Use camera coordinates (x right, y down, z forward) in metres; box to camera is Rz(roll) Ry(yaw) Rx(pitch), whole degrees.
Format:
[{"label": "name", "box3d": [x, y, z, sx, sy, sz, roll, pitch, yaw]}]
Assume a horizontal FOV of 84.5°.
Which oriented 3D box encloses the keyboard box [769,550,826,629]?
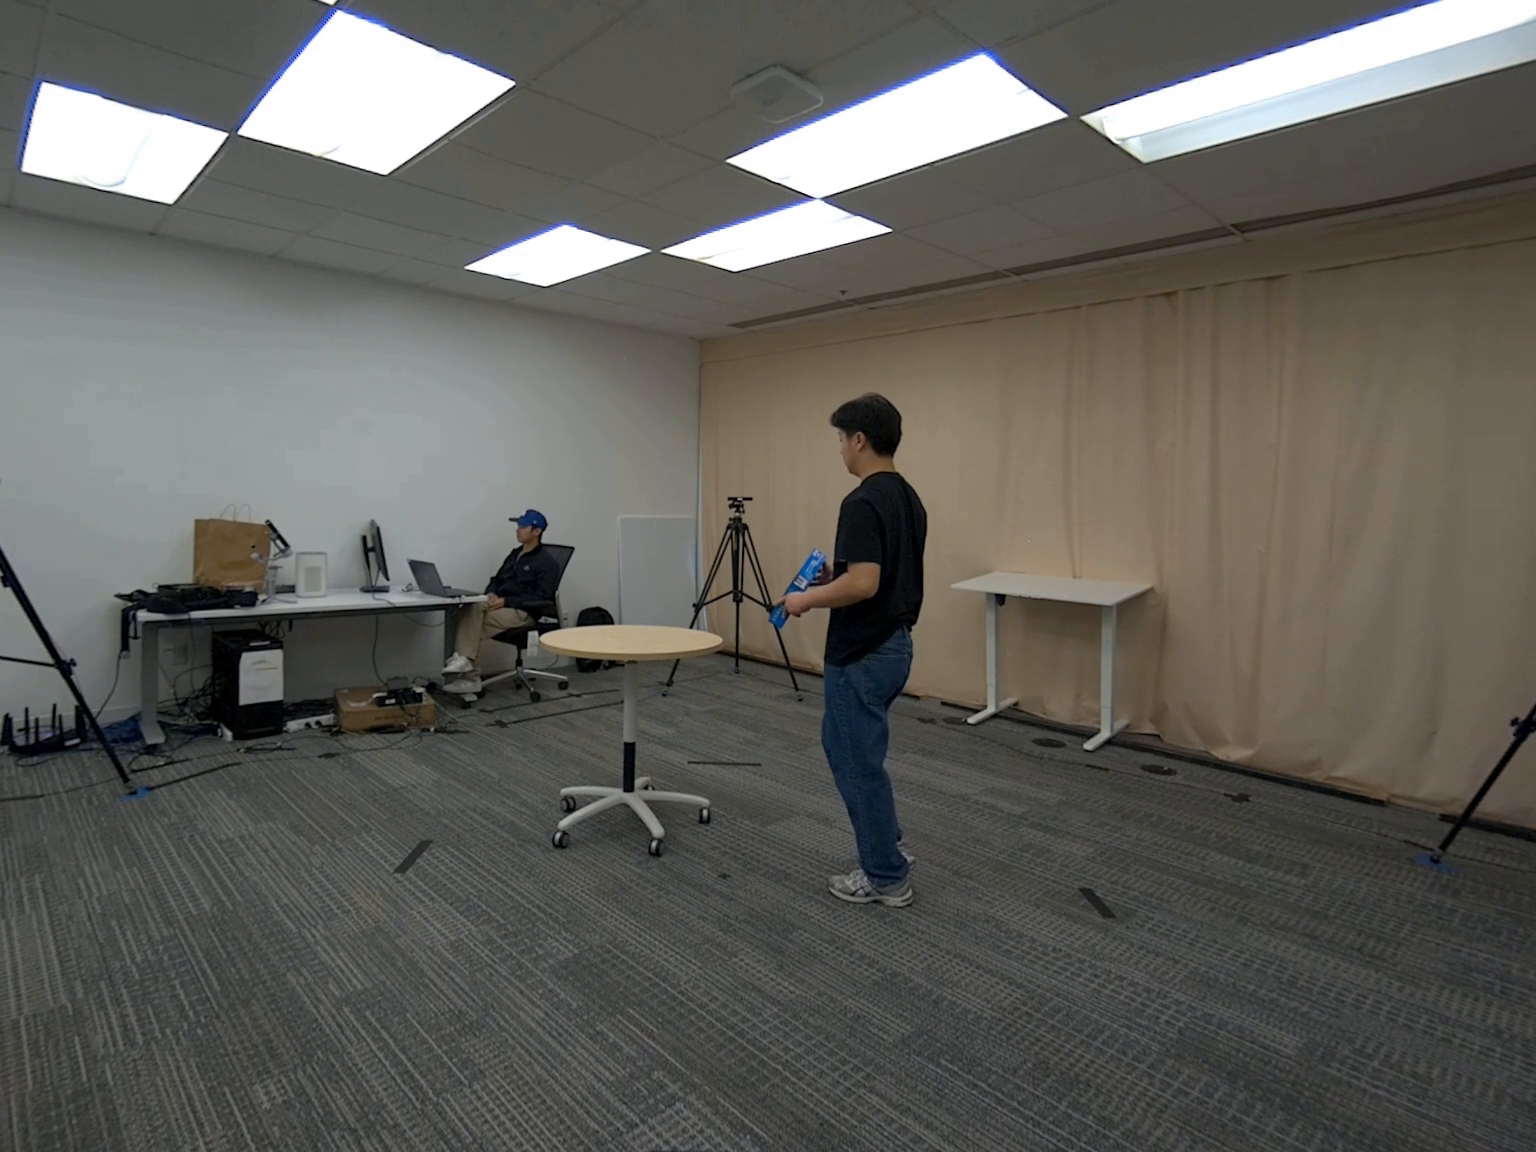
[{"label": "keyboard box", "box3d": [0.105, 0.040, 3.131, 0.059, 0.175, 0.437, 33, 23, 3]}]
